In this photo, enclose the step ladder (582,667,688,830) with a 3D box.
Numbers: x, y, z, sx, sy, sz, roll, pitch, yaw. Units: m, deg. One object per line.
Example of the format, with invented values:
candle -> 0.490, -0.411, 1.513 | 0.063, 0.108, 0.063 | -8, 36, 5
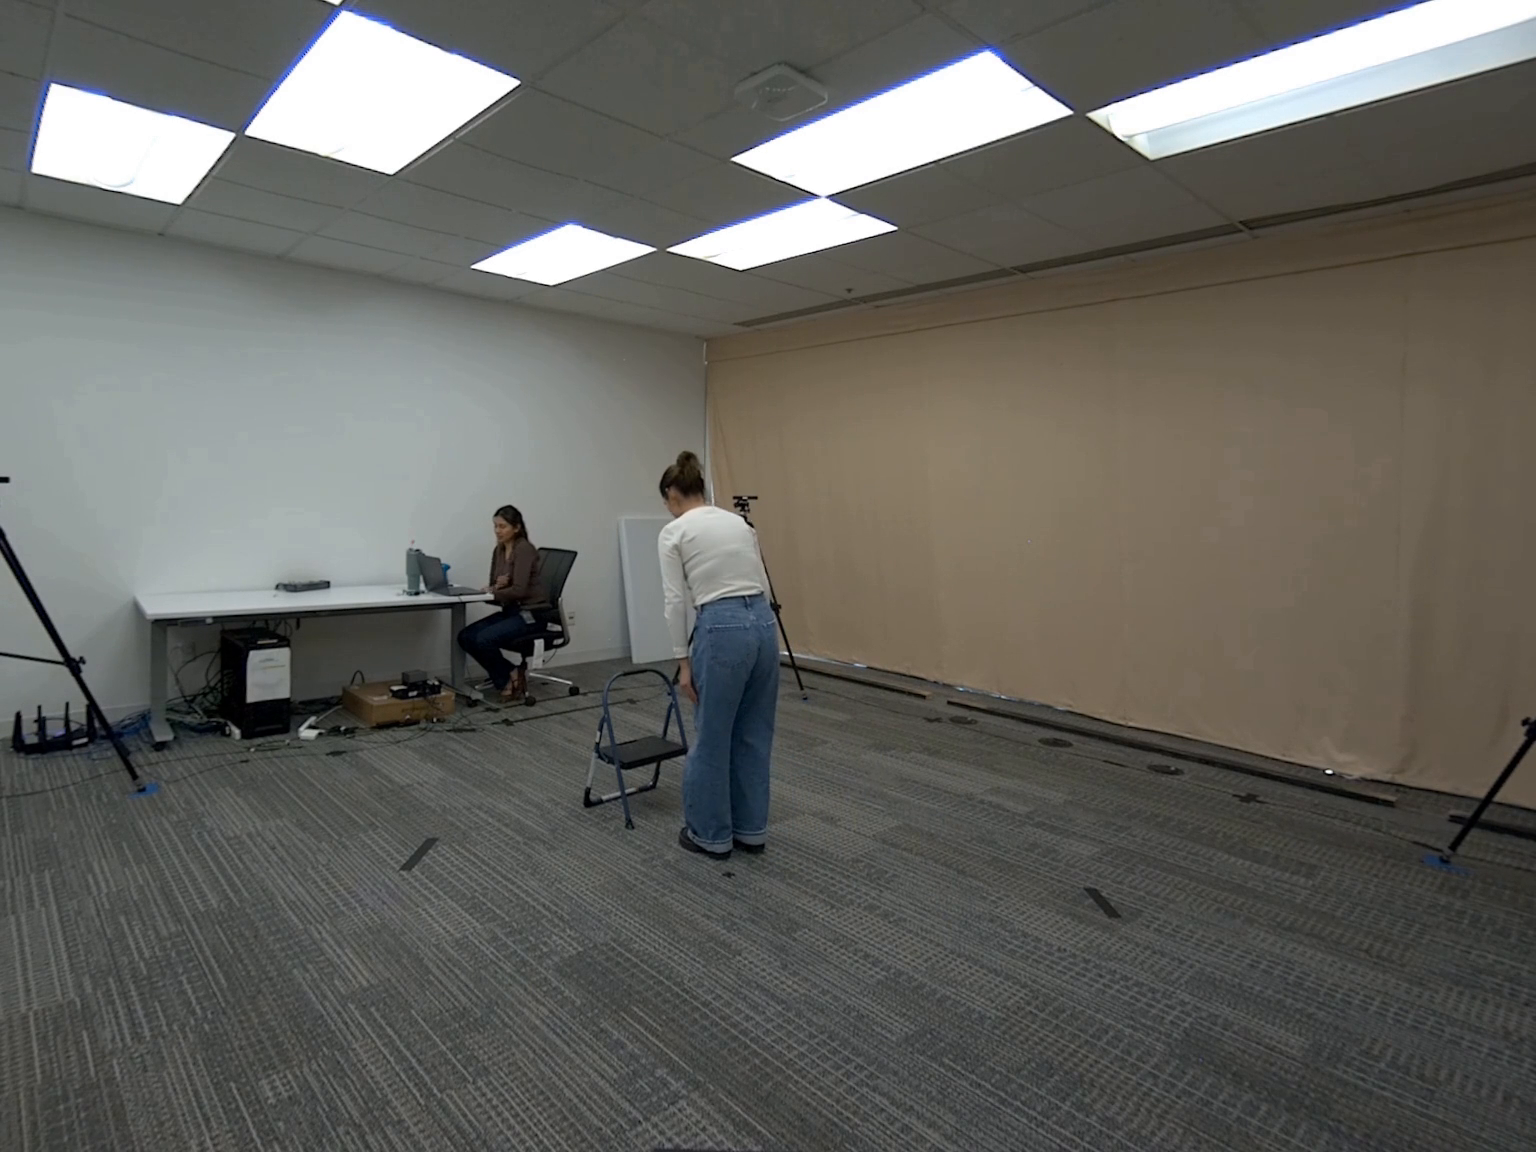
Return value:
step ladder -> -0.561, 0.732, 3.761 | 0.358, 0.605, 0.421 | 4, 4, 43
